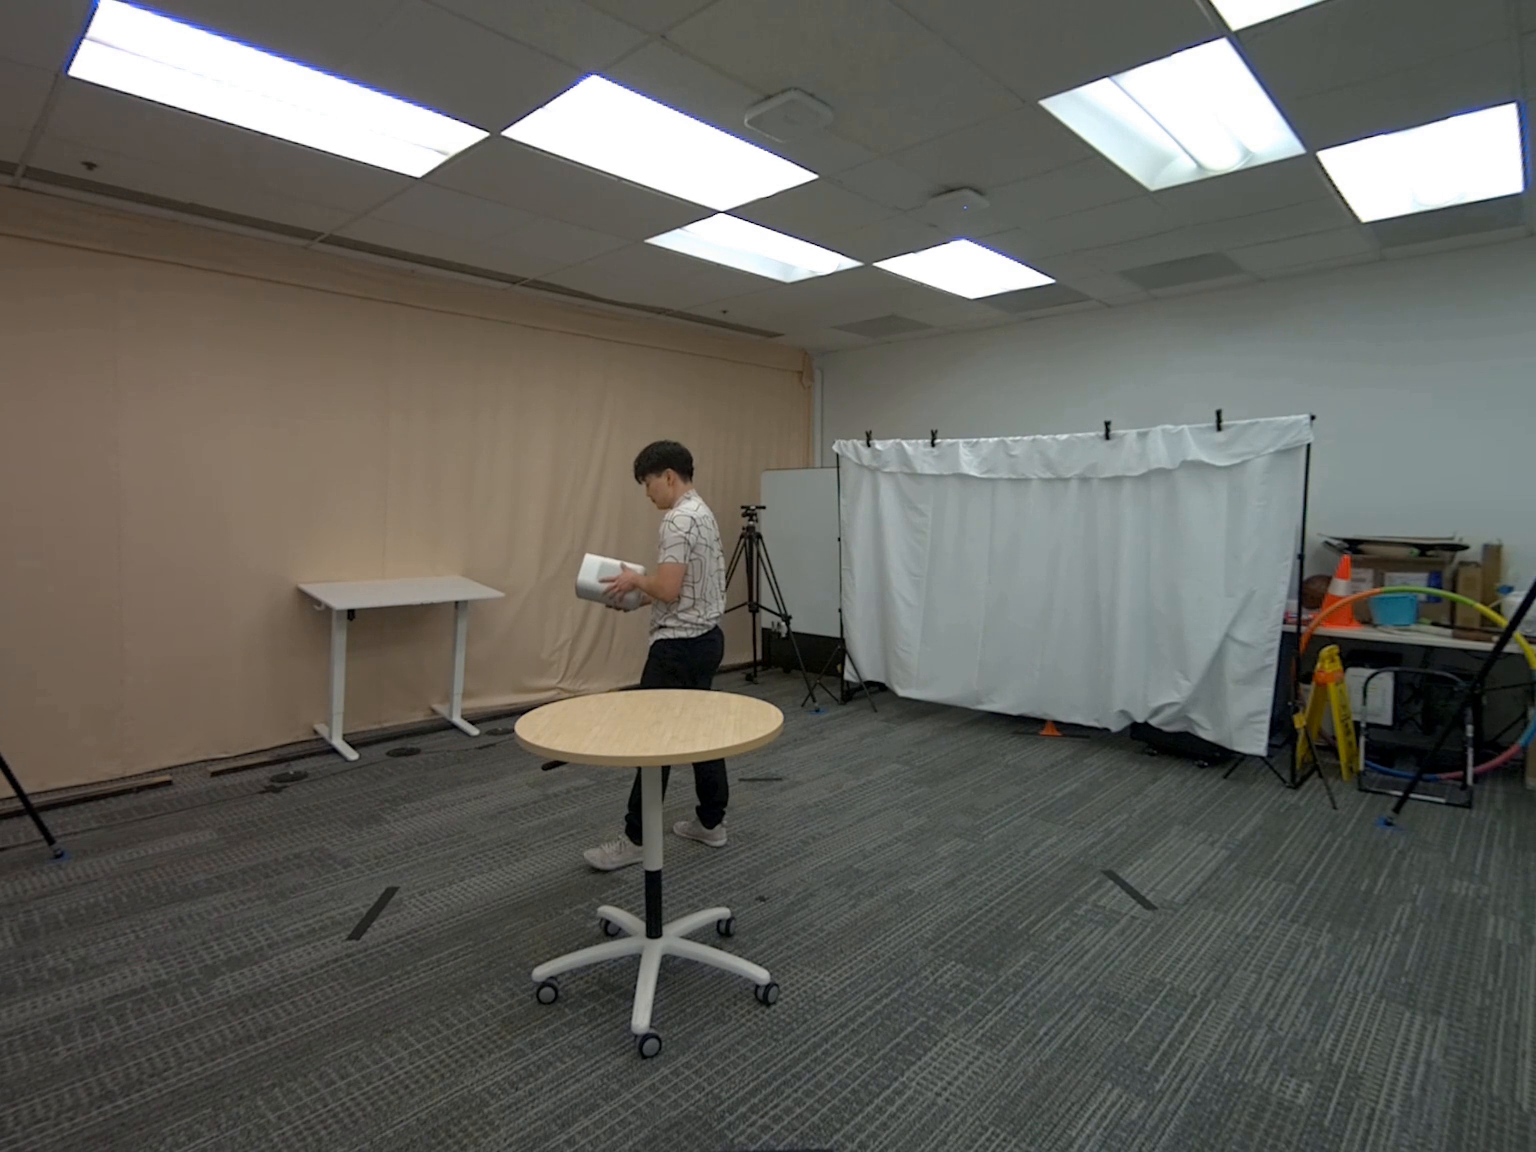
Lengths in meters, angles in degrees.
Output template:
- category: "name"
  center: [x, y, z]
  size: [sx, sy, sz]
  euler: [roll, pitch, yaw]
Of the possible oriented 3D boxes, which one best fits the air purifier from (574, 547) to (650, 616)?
- category: "air purifier"
  center: [-0.645, 0.022, 3.521]
  size: [0.266, 0.173, 0.169]
  euler: [12, -27, 2]
